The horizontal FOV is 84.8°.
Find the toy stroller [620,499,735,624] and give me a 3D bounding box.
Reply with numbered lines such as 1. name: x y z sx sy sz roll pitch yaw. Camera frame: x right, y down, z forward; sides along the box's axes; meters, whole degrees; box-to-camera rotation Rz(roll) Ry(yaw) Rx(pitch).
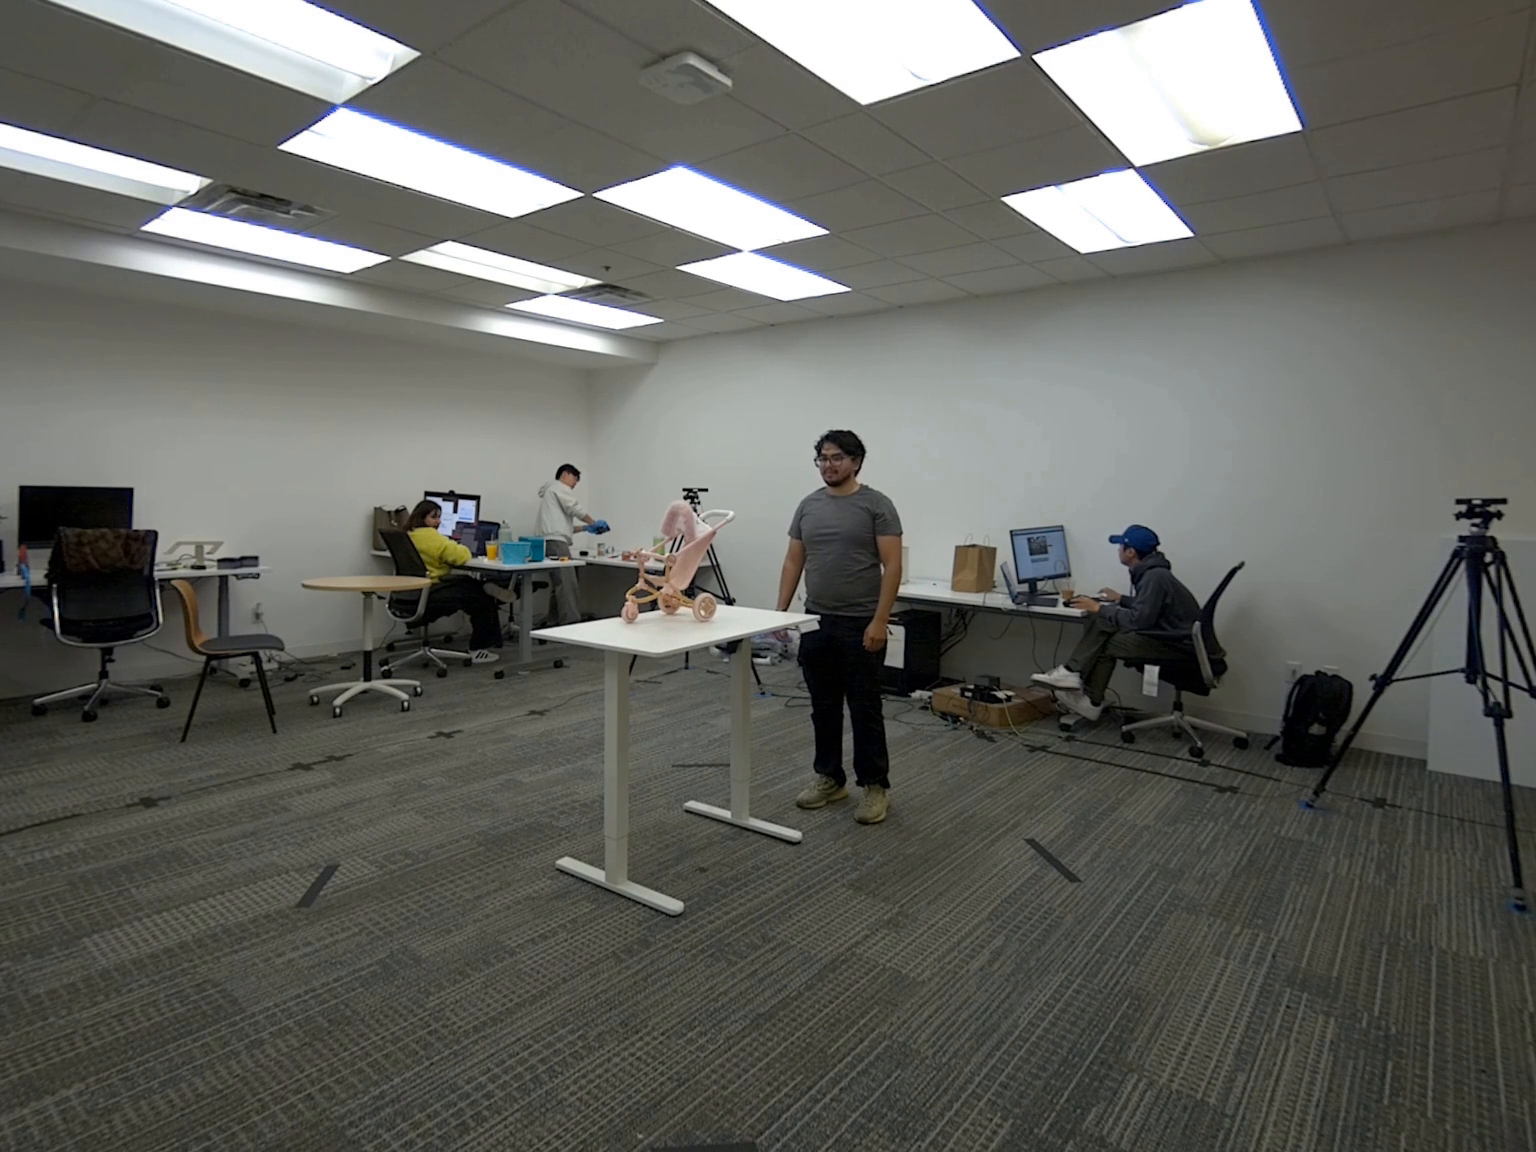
1. toy stroller: -0.376 -0.056 3.298 0.330 0.537 0.290 18 -6 -32
